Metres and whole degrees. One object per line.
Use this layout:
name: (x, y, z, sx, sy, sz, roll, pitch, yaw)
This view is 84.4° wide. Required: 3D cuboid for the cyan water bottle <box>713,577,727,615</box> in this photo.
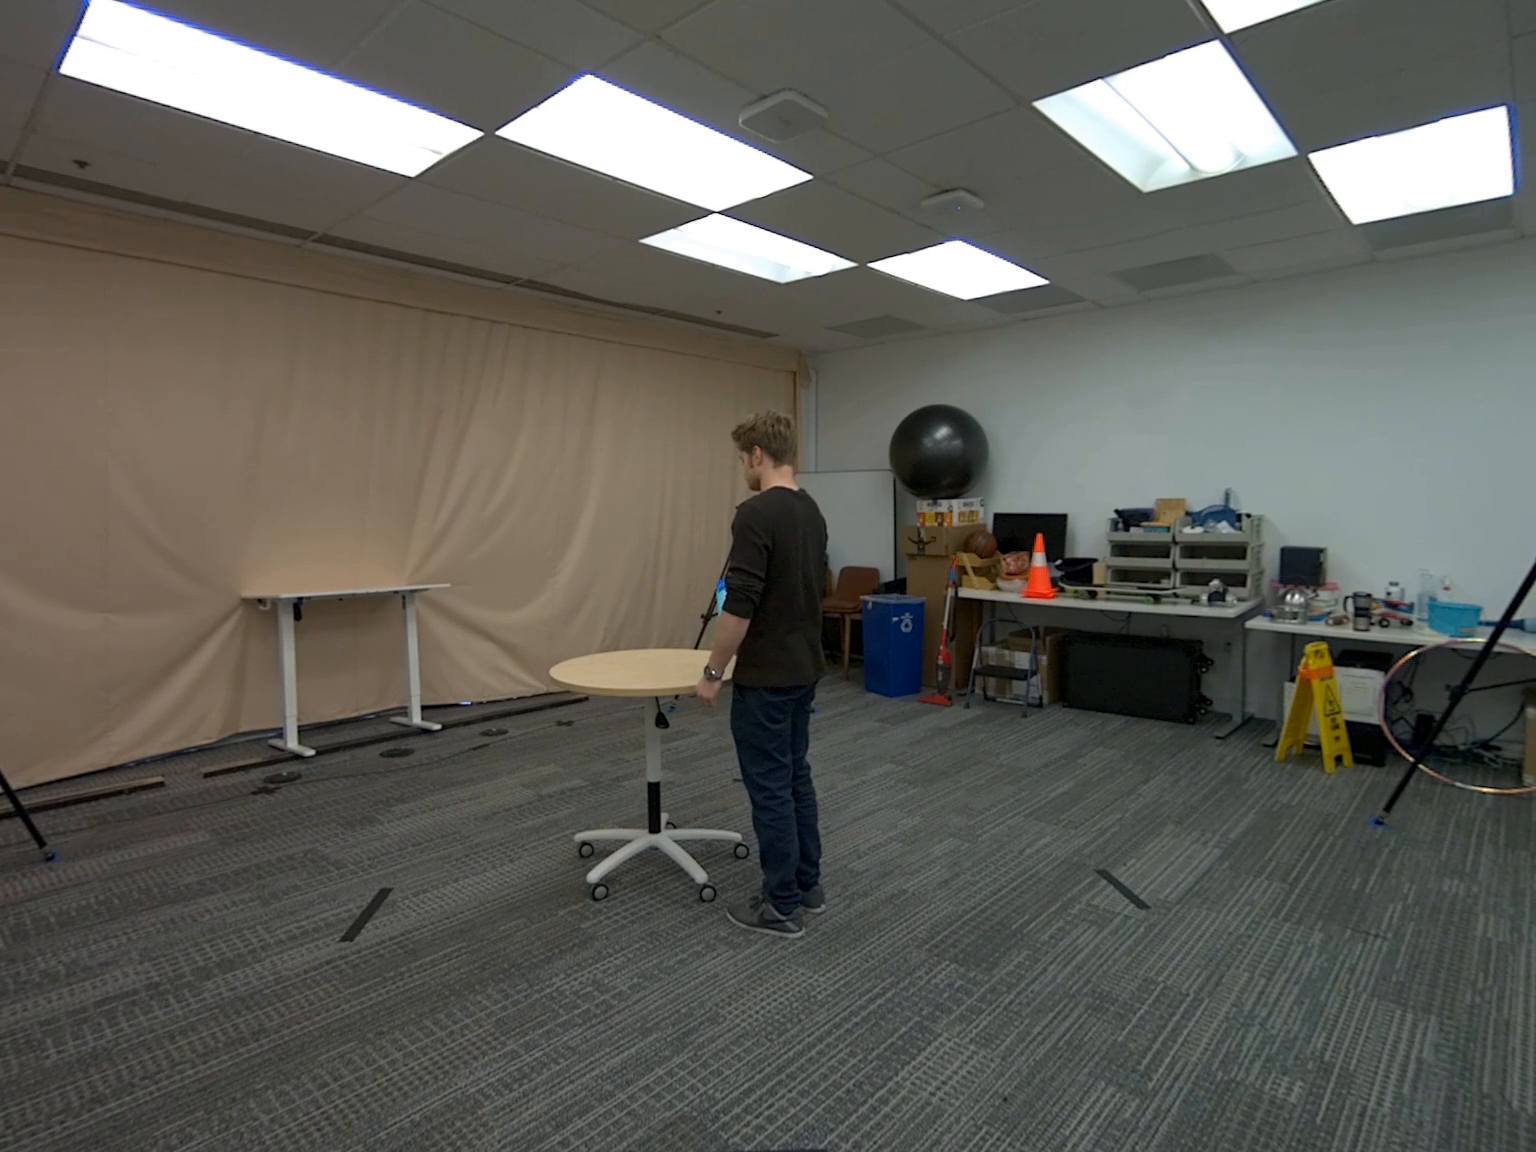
cyan water bottle: (-0.148, 0.105, 3.261, 0.092, 0.091, 0.289, -1, 31, -8)
